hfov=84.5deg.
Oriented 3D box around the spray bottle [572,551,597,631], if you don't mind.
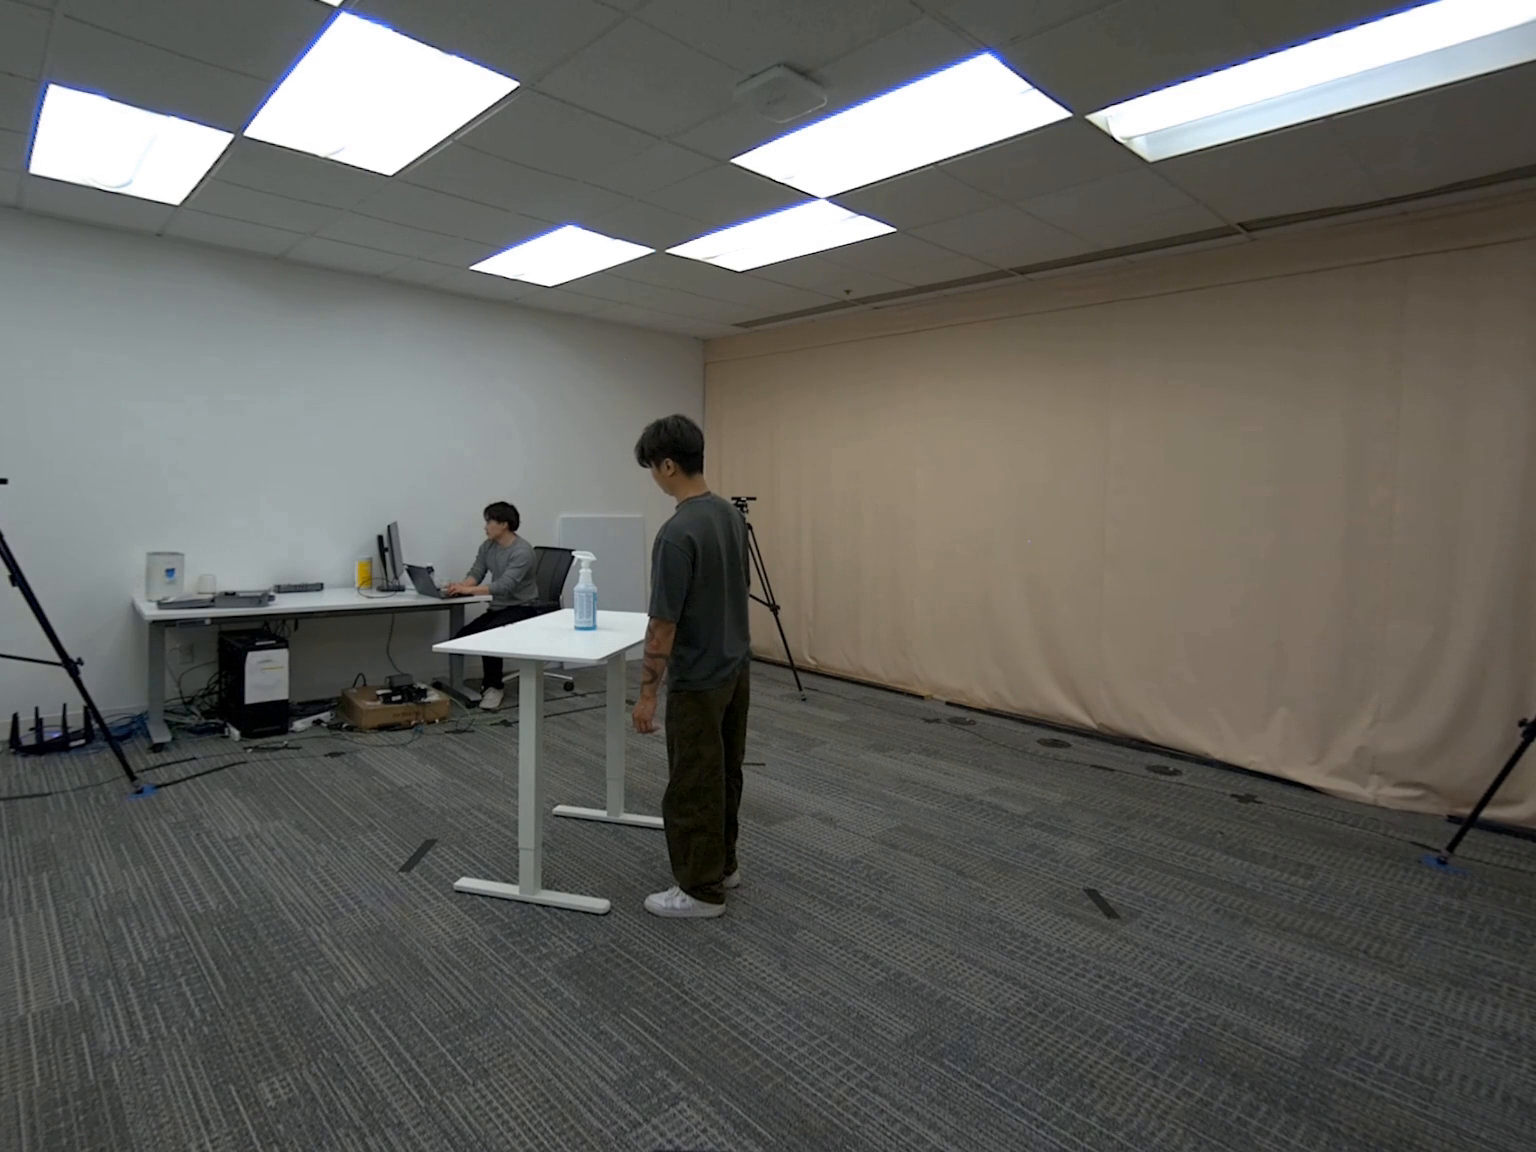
[{"bbox_3d":[-0.707,0.057,3.202,0.092,0.296,0.085,4,7,29],"label":"spray bottle"}]
